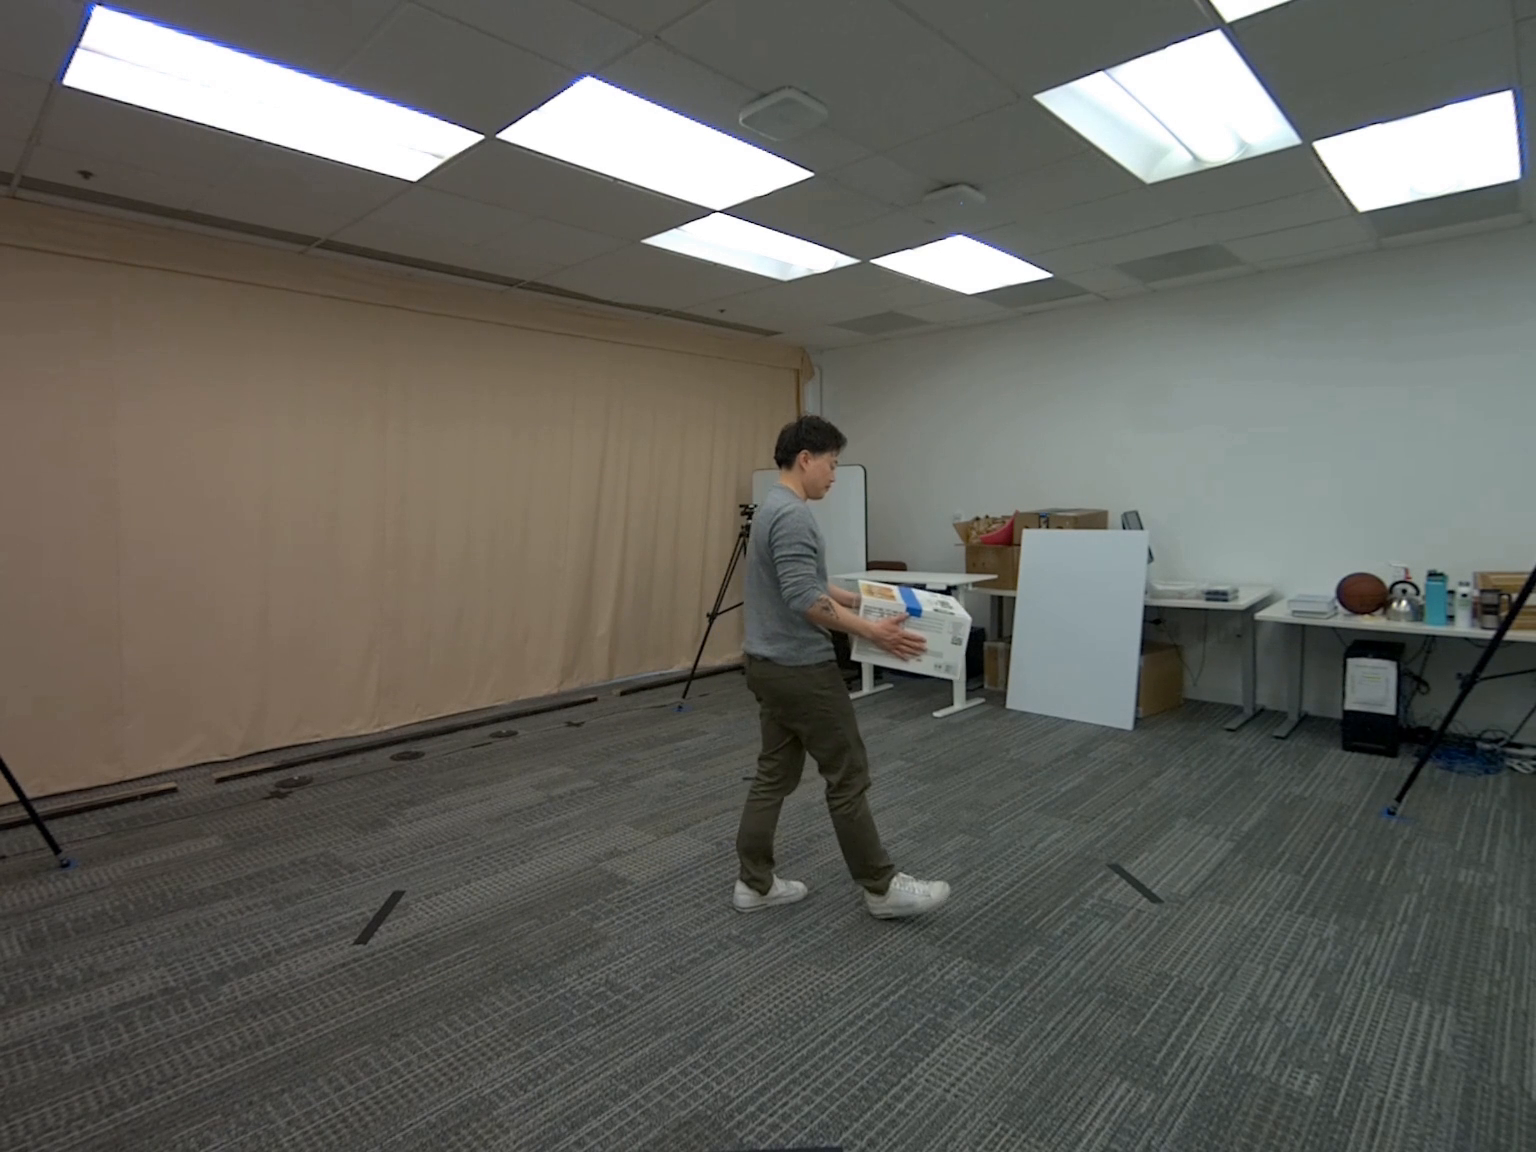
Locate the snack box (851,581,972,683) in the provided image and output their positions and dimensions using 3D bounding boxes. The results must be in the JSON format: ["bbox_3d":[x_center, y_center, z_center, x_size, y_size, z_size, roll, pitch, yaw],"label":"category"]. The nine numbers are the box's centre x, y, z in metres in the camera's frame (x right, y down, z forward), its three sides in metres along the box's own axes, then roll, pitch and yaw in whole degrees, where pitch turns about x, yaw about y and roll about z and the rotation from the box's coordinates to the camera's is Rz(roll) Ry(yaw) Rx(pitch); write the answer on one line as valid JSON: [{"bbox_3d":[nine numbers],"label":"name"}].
[{"bbox_3d":[0.461,0.168,2.795,0.343,0.205,0.404,10,9,5],"label":"snack box"}]
